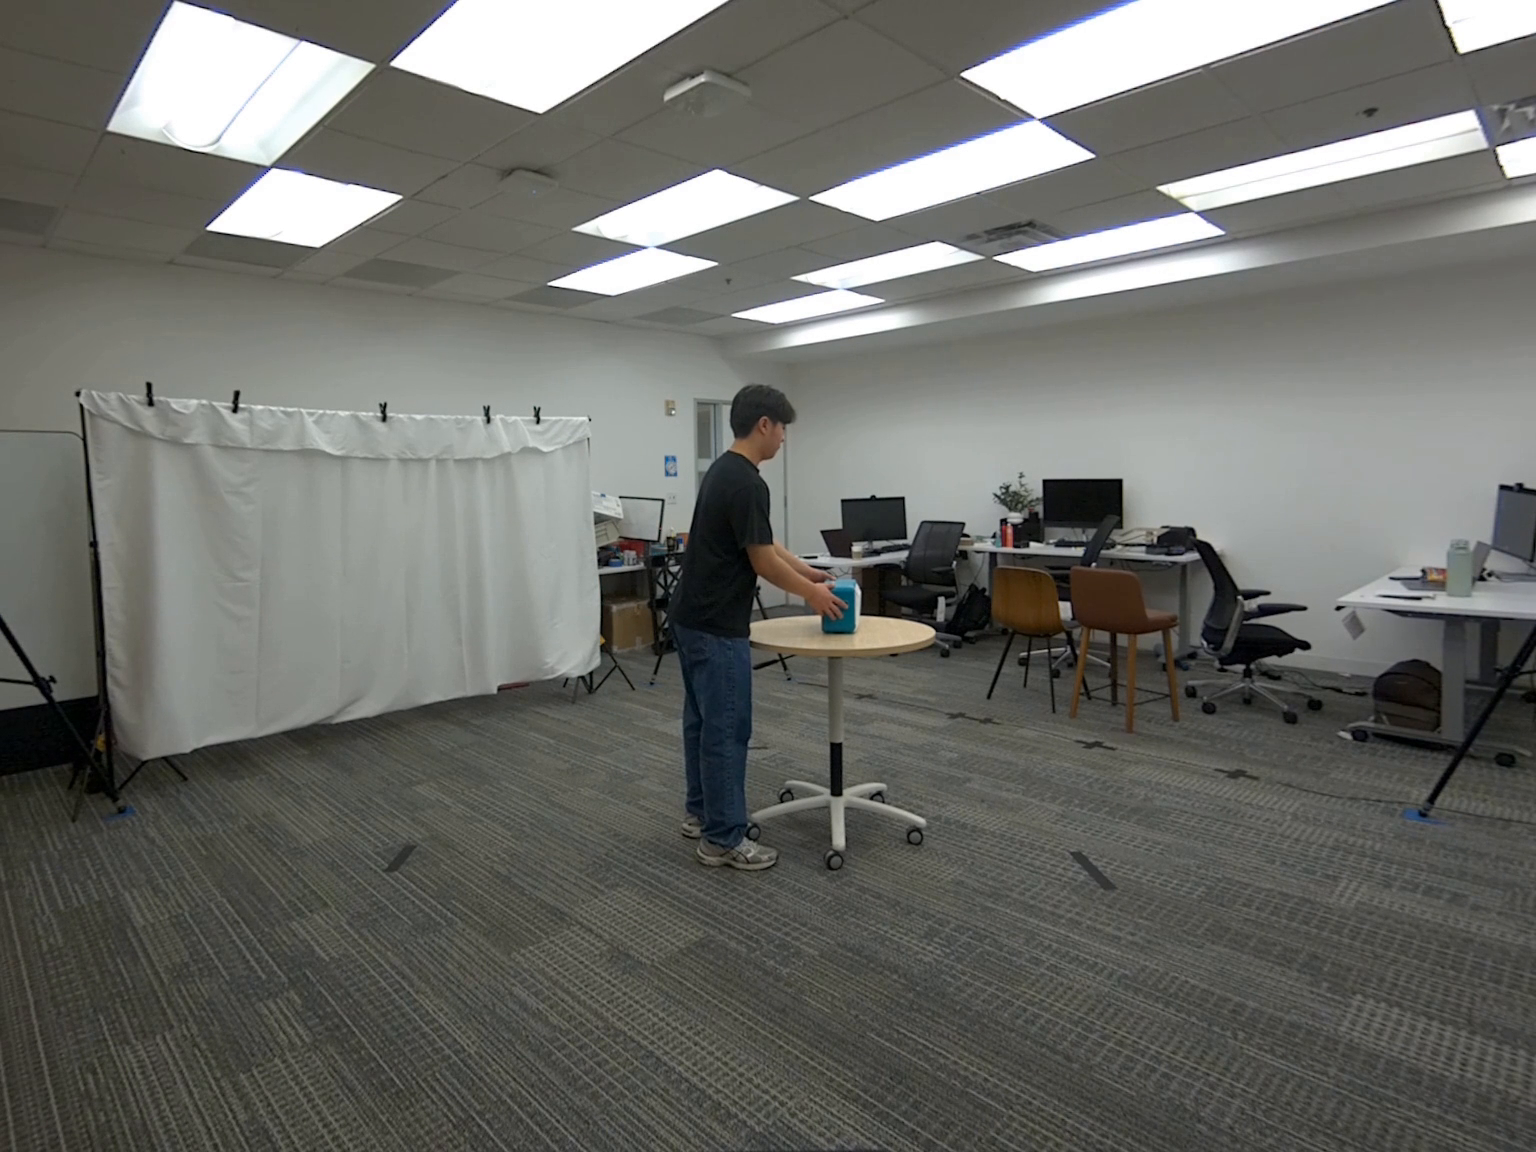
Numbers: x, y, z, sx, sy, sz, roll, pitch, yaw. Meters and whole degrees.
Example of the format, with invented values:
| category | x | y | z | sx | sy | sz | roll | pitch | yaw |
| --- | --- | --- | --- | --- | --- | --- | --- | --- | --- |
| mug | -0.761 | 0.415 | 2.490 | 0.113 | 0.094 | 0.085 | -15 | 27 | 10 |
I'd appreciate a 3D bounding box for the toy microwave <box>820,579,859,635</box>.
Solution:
| category | x | y | z | sx | sy | sz | roll | pitch | yaw |
| --- | --- | --- | --- | --- | --- | --- | --- | --- | --- |
| toy microwave | 0.290 | 0.119 | 3.378 | 0.154 | 0.183 | 0.284 | -1 | 4 | 8 |
